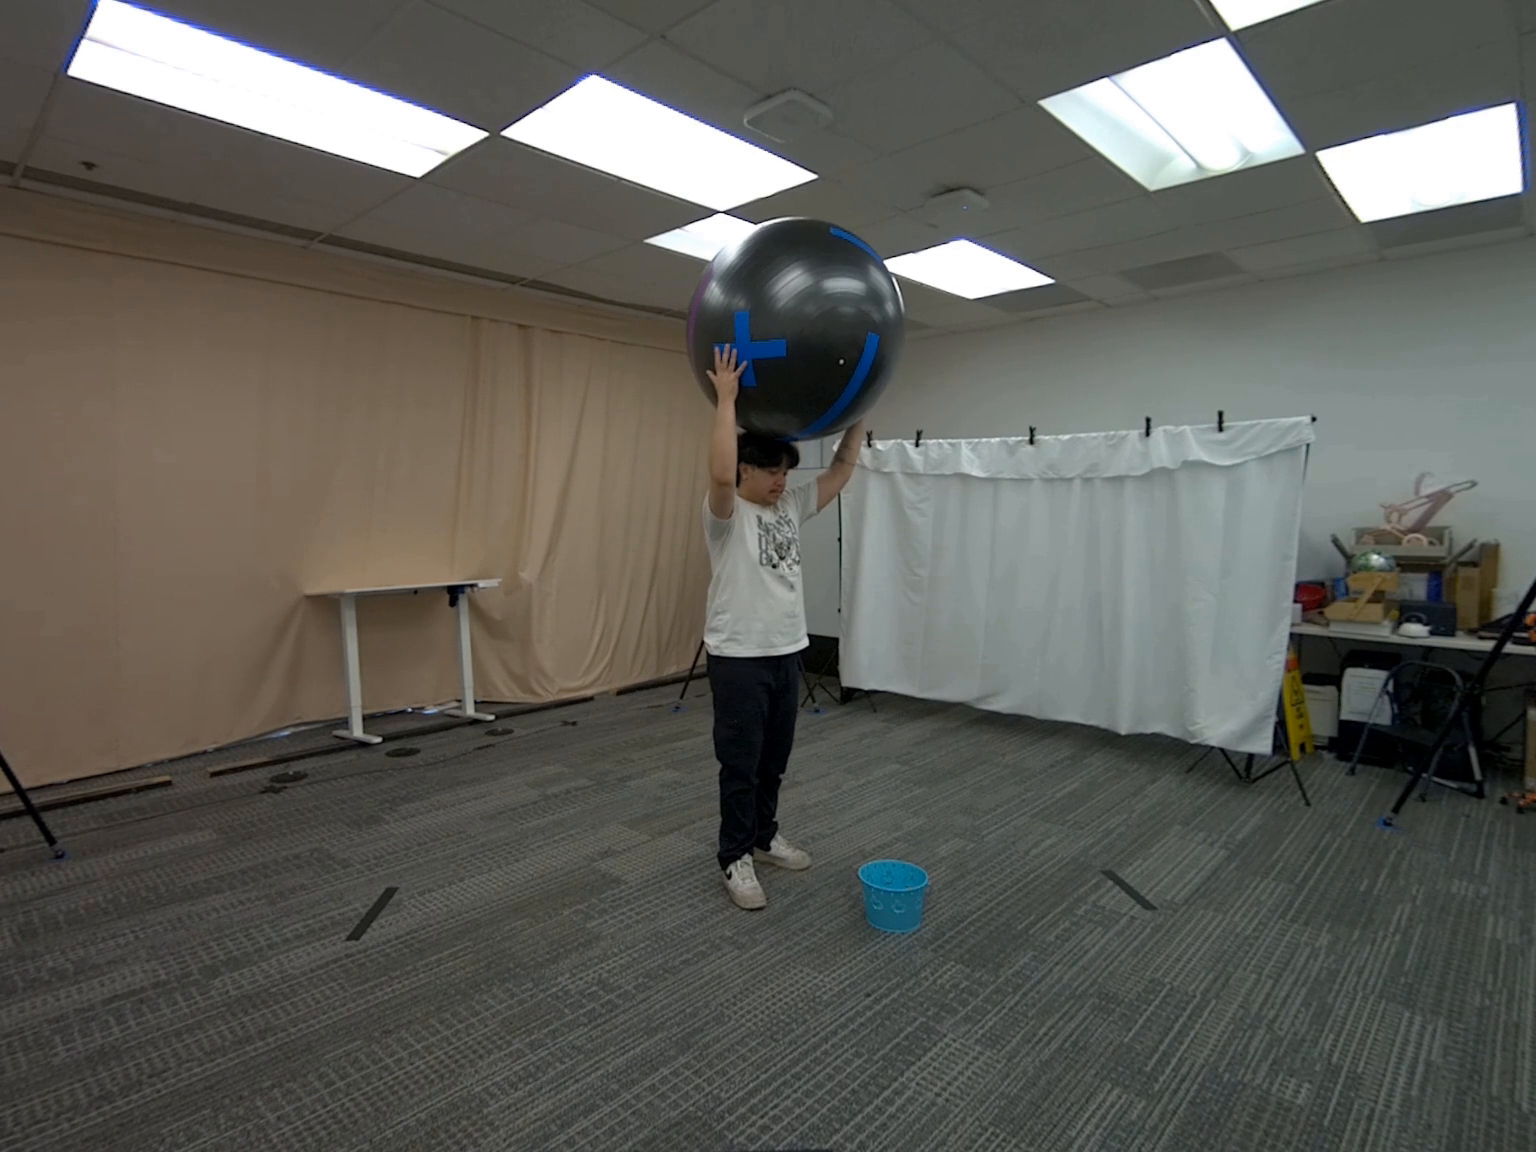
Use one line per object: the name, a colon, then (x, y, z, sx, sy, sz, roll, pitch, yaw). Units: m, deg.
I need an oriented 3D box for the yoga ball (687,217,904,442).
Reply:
yoga ball: (0.091, -0.848, 2.953, 0.757, 0.756, 0.760, 0, 4, -2)
